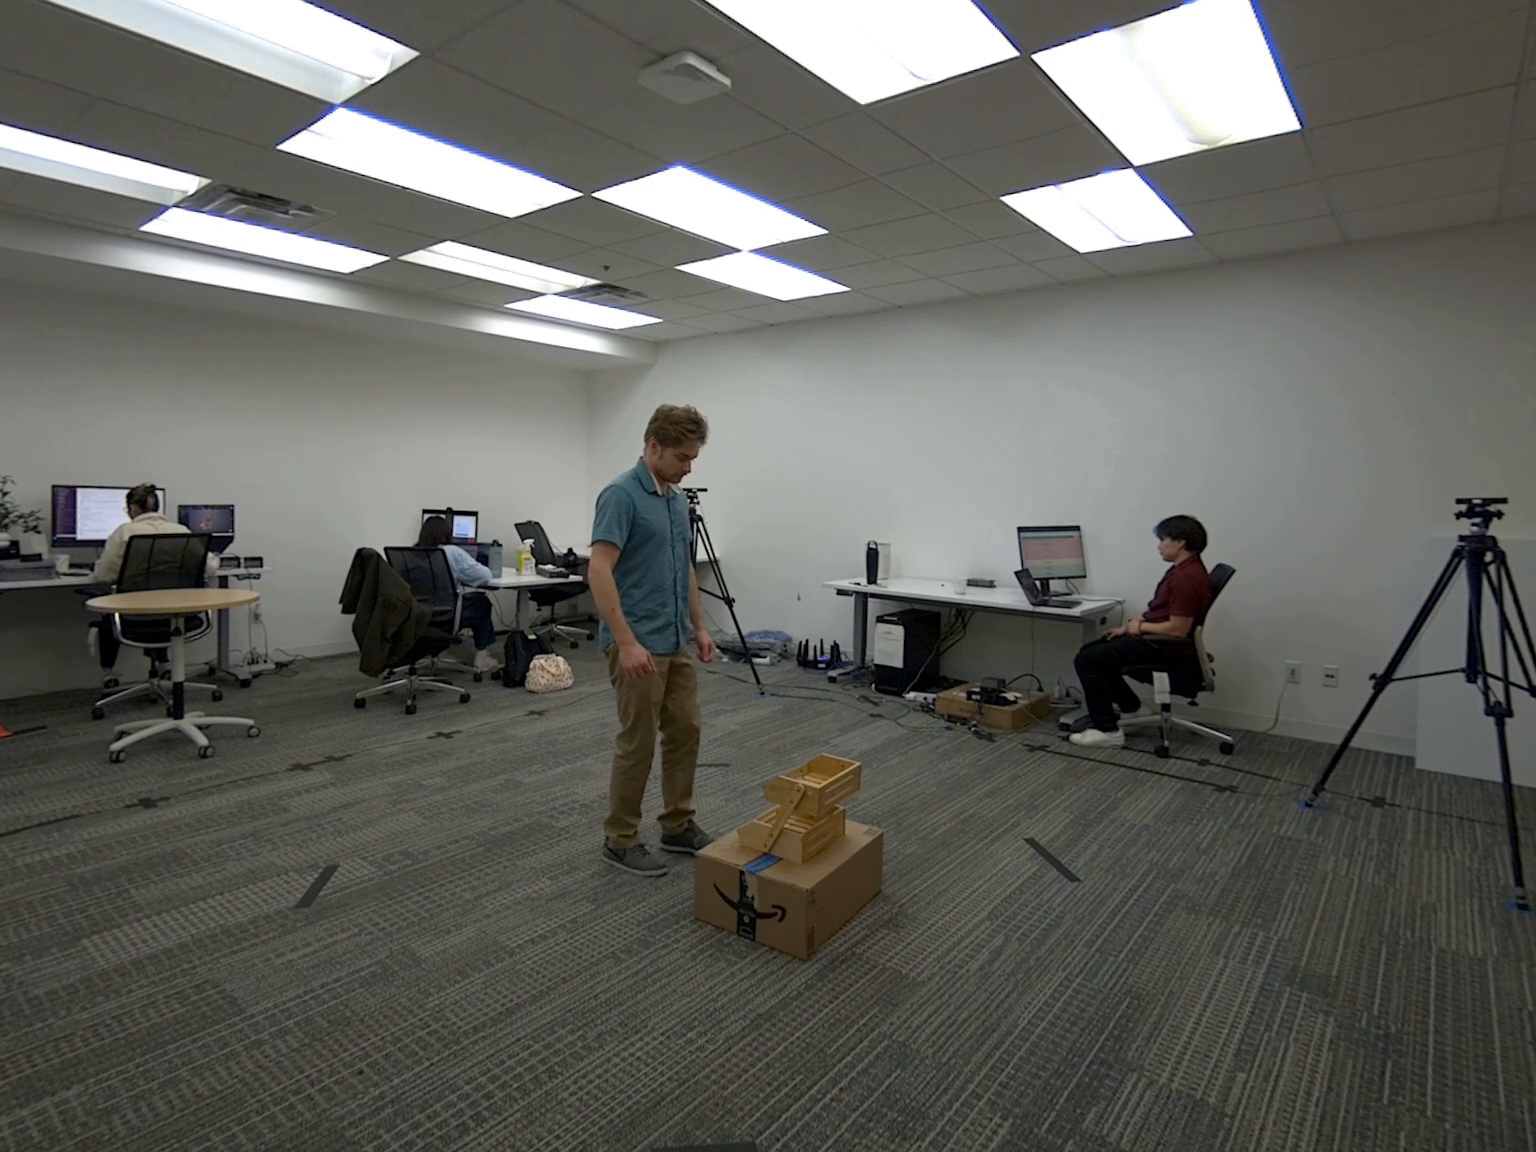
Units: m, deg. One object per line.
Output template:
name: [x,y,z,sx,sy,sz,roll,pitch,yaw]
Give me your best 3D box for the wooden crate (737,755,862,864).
wooden crate: [0.099,0.754,2.859,0.312,0.272,0.316,6,7,33]
